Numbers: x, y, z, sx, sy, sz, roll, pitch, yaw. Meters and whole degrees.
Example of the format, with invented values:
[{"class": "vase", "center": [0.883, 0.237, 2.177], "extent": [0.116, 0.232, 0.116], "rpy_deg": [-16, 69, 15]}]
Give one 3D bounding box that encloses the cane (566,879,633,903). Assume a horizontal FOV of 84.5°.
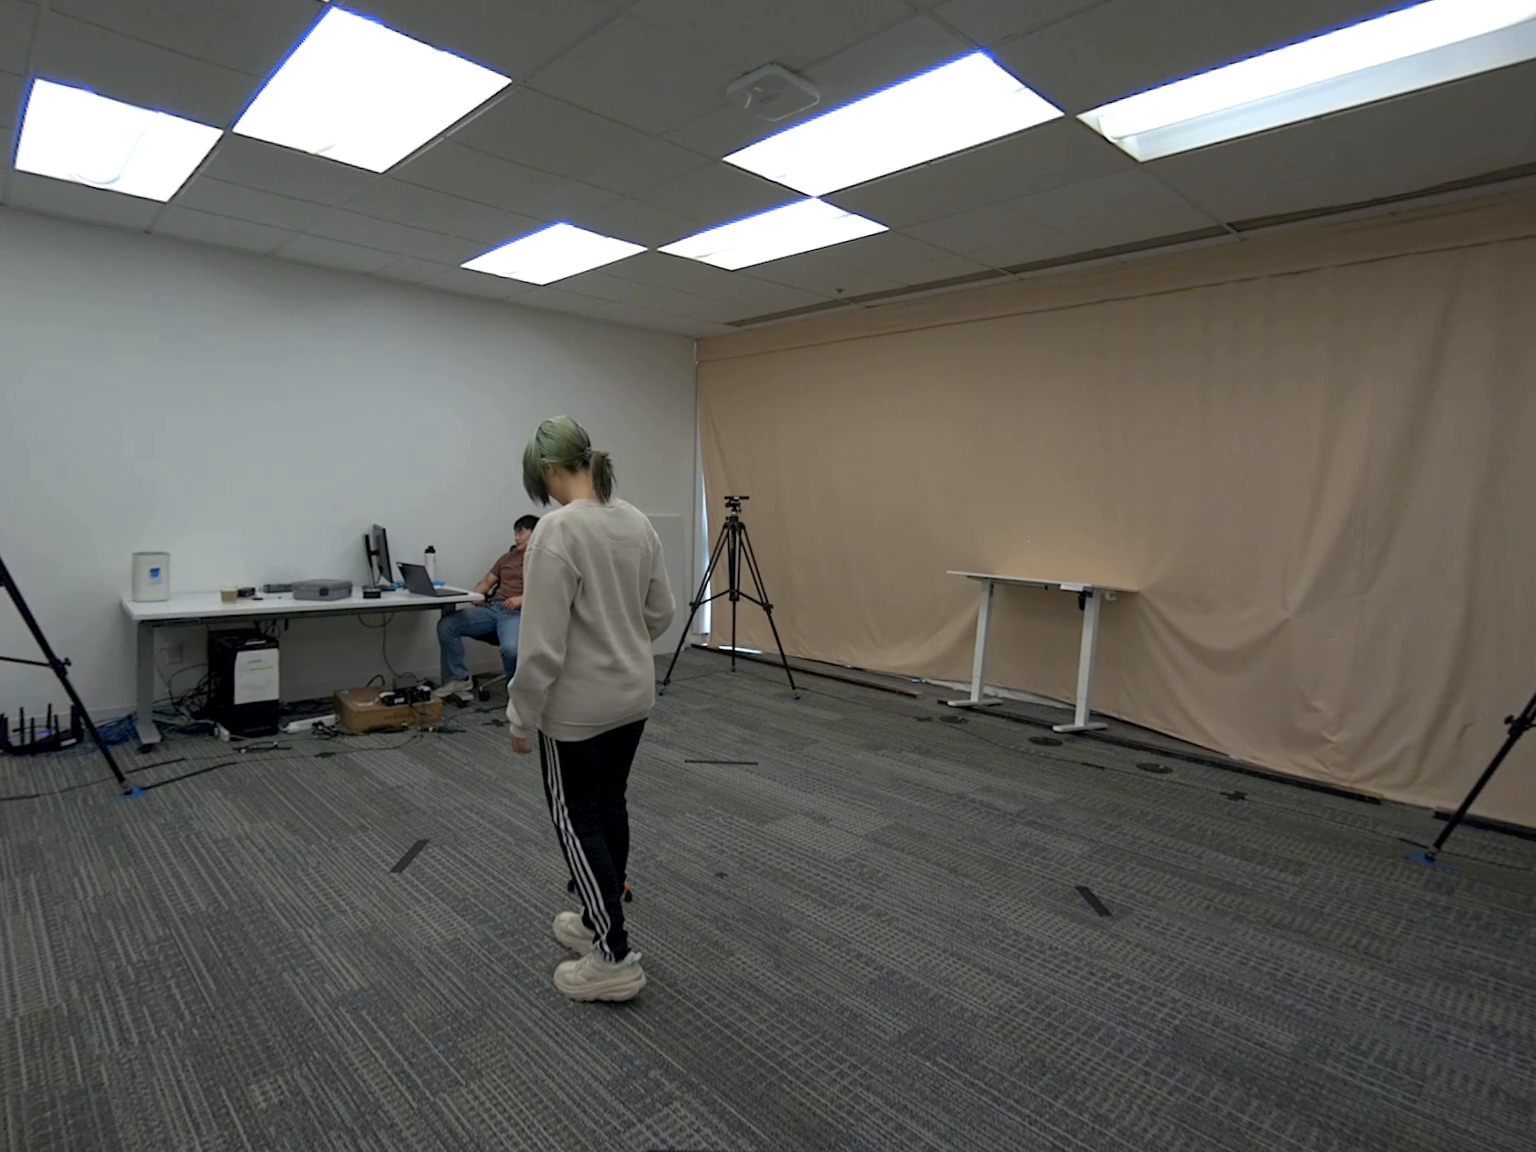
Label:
[{"class": "cane", "center": [-0.565, 0.665, 2.883], "extent": [0.148, 0.905, 0.212], "rpy_deg": [0, 5, -41]}]
